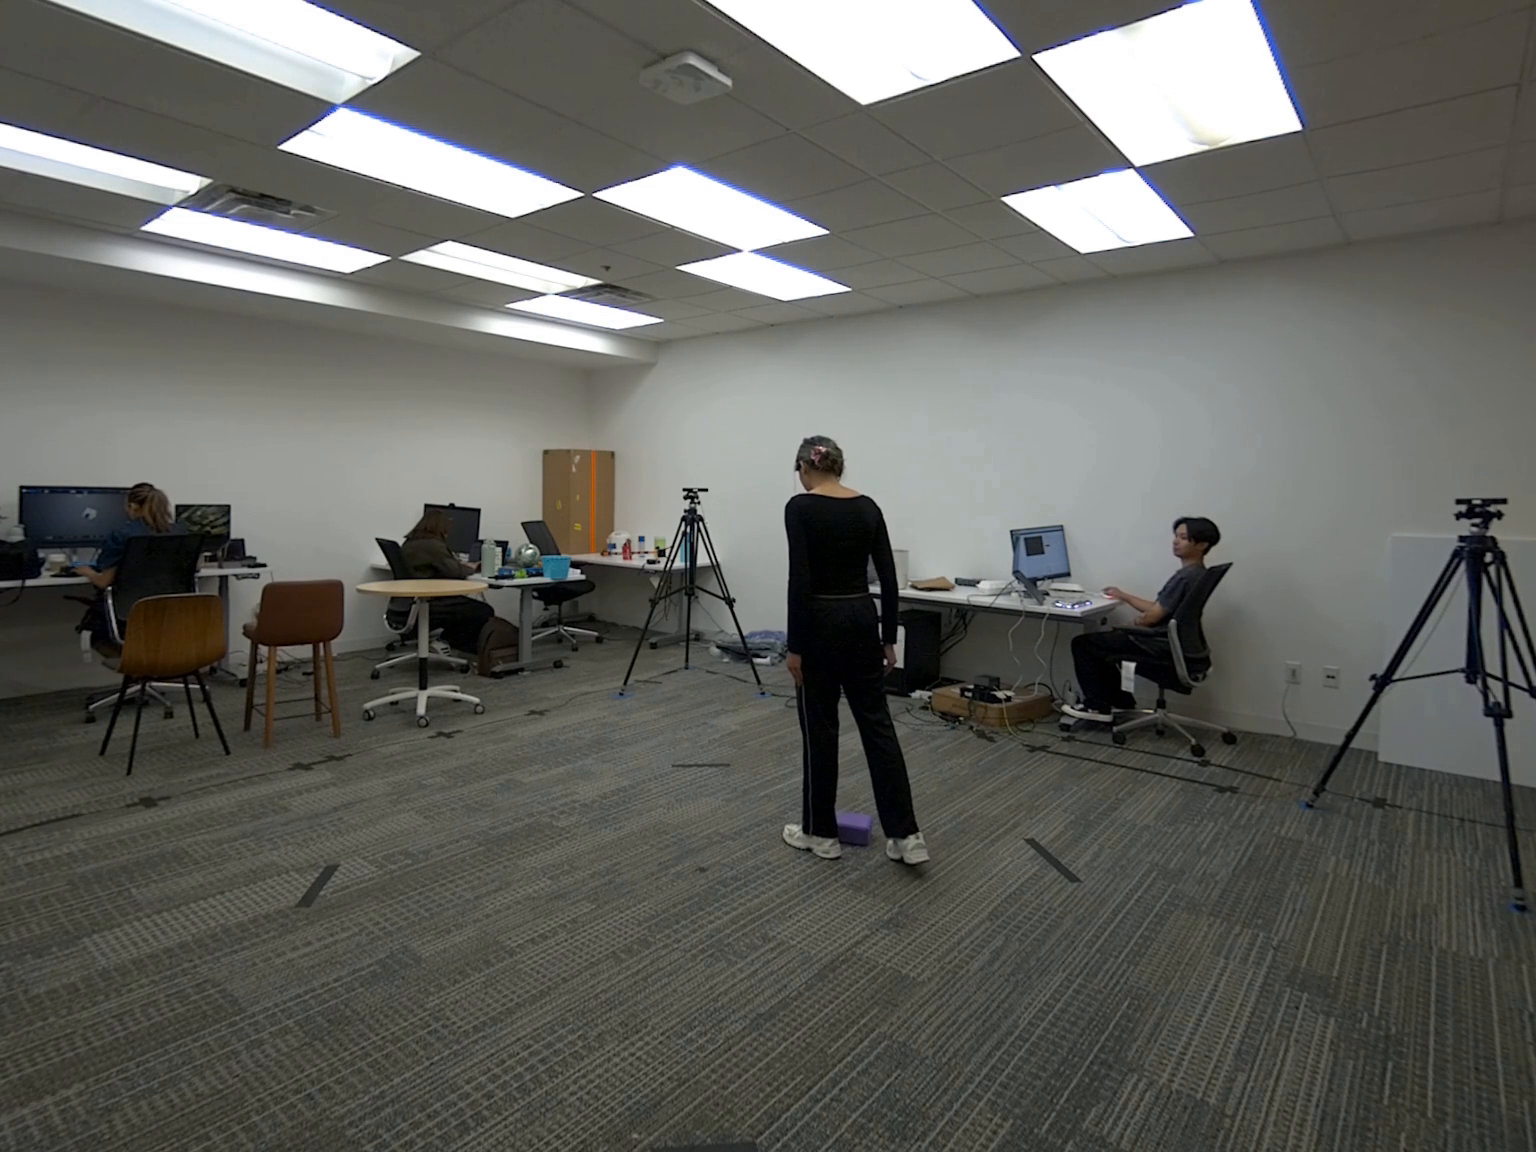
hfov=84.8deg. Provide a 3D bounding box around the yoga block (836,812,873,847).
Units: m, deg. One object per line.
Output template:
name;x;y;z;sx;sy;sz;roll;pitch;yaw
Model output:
yoga block;0.287;1.005;3.433;0.233;0.076;0.147;2;6;16
